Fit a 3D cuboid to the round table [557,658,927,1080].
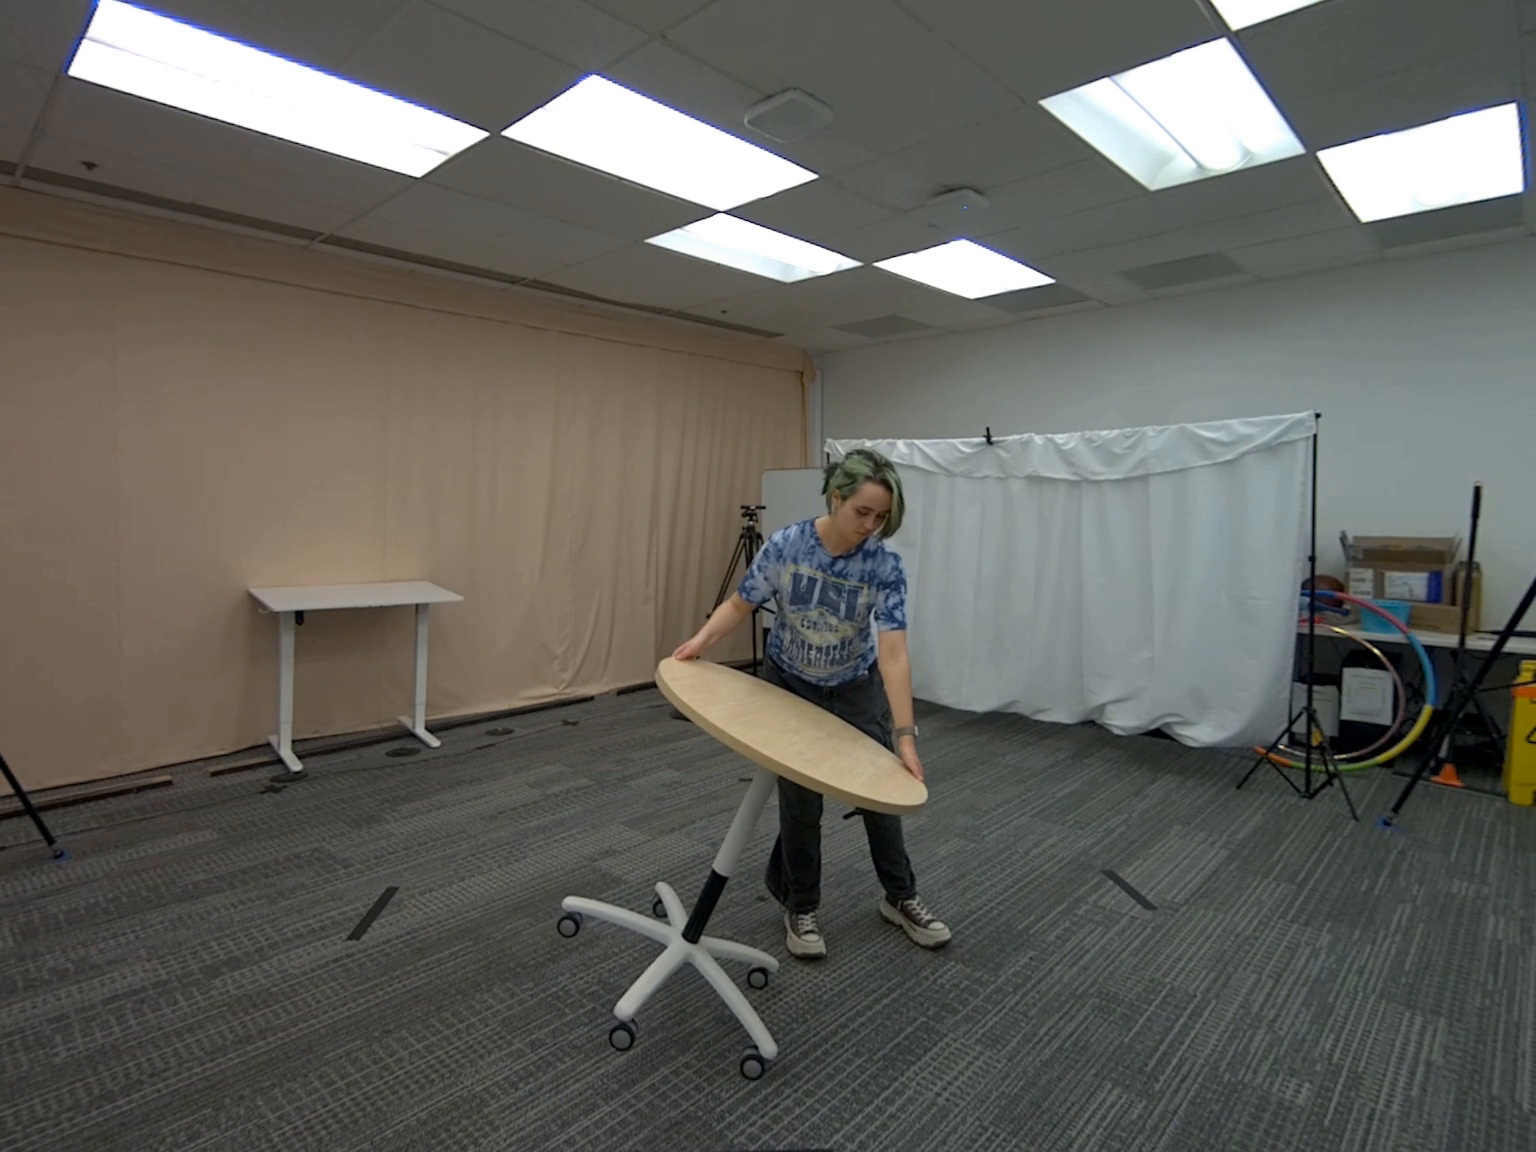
[{"bbox_3d":[-0.107,0.749,2.233,0.761,0.793,0.767,24,4,-4],"label":"round table"}]
